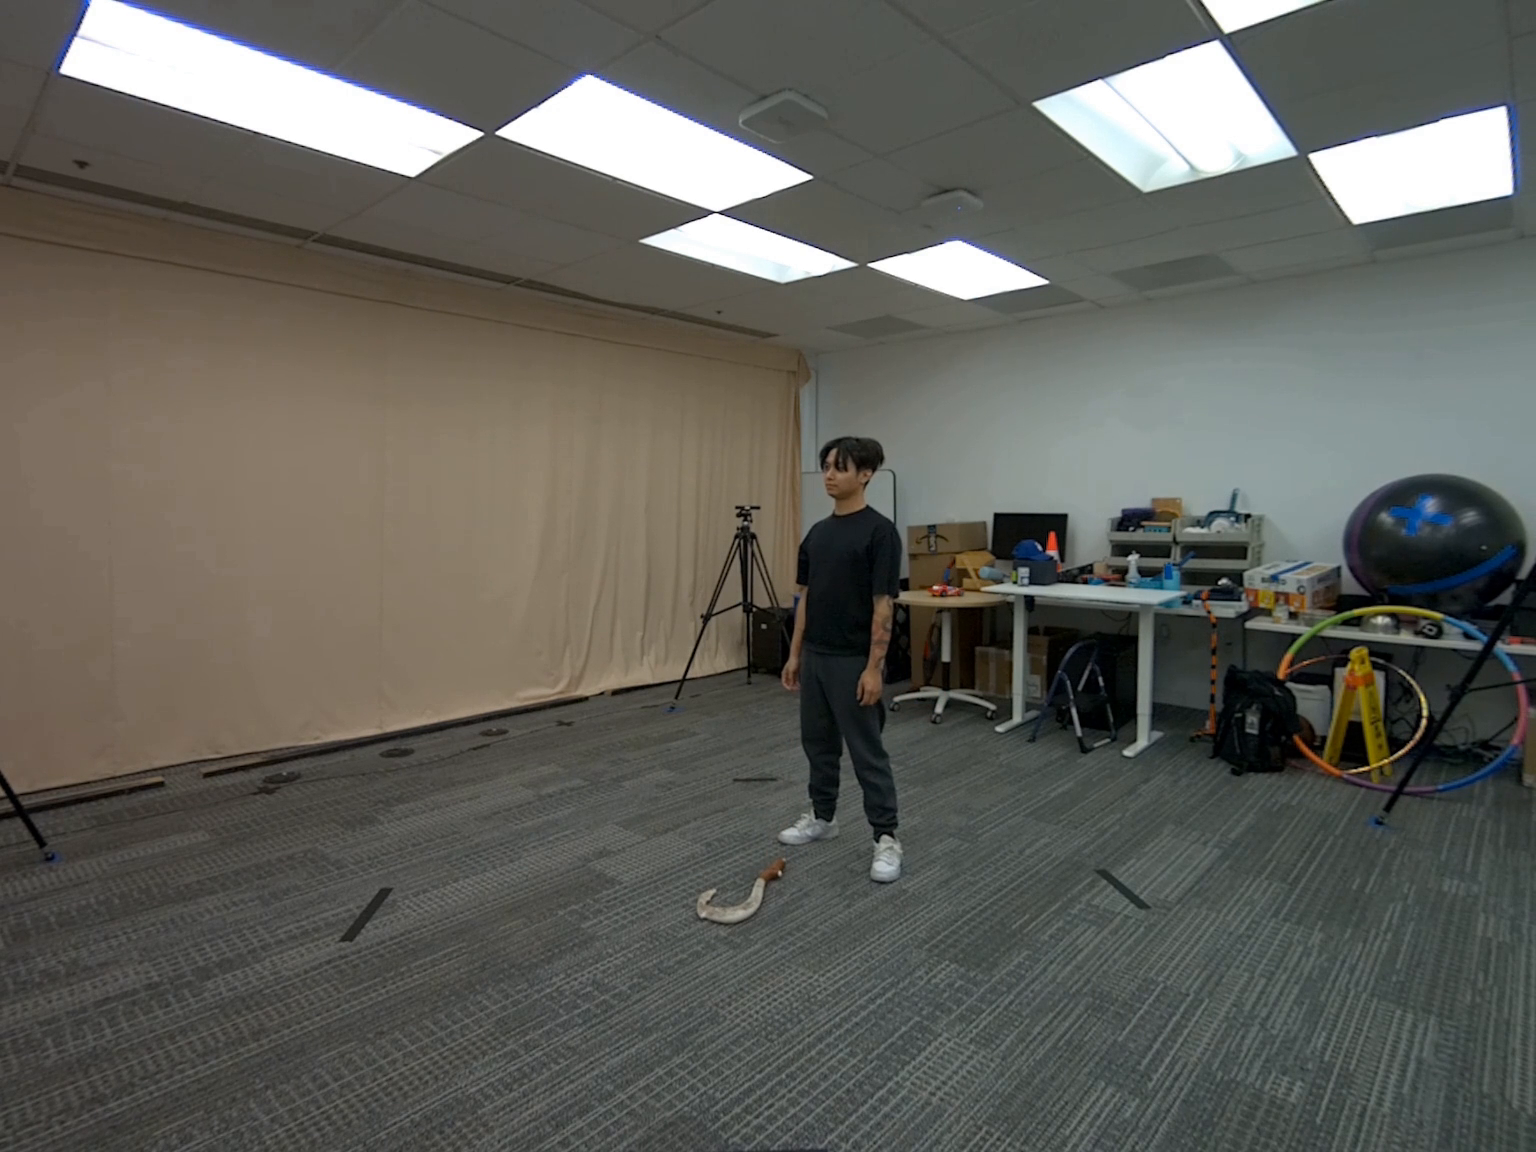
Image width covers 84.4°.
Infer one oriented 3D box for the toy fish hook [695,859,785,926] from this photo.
[{"bbox_3d":[-0.090,1.118,3.031,0.230,0.048,0.495,3,5,23],"label":"toy fish hook"}]
